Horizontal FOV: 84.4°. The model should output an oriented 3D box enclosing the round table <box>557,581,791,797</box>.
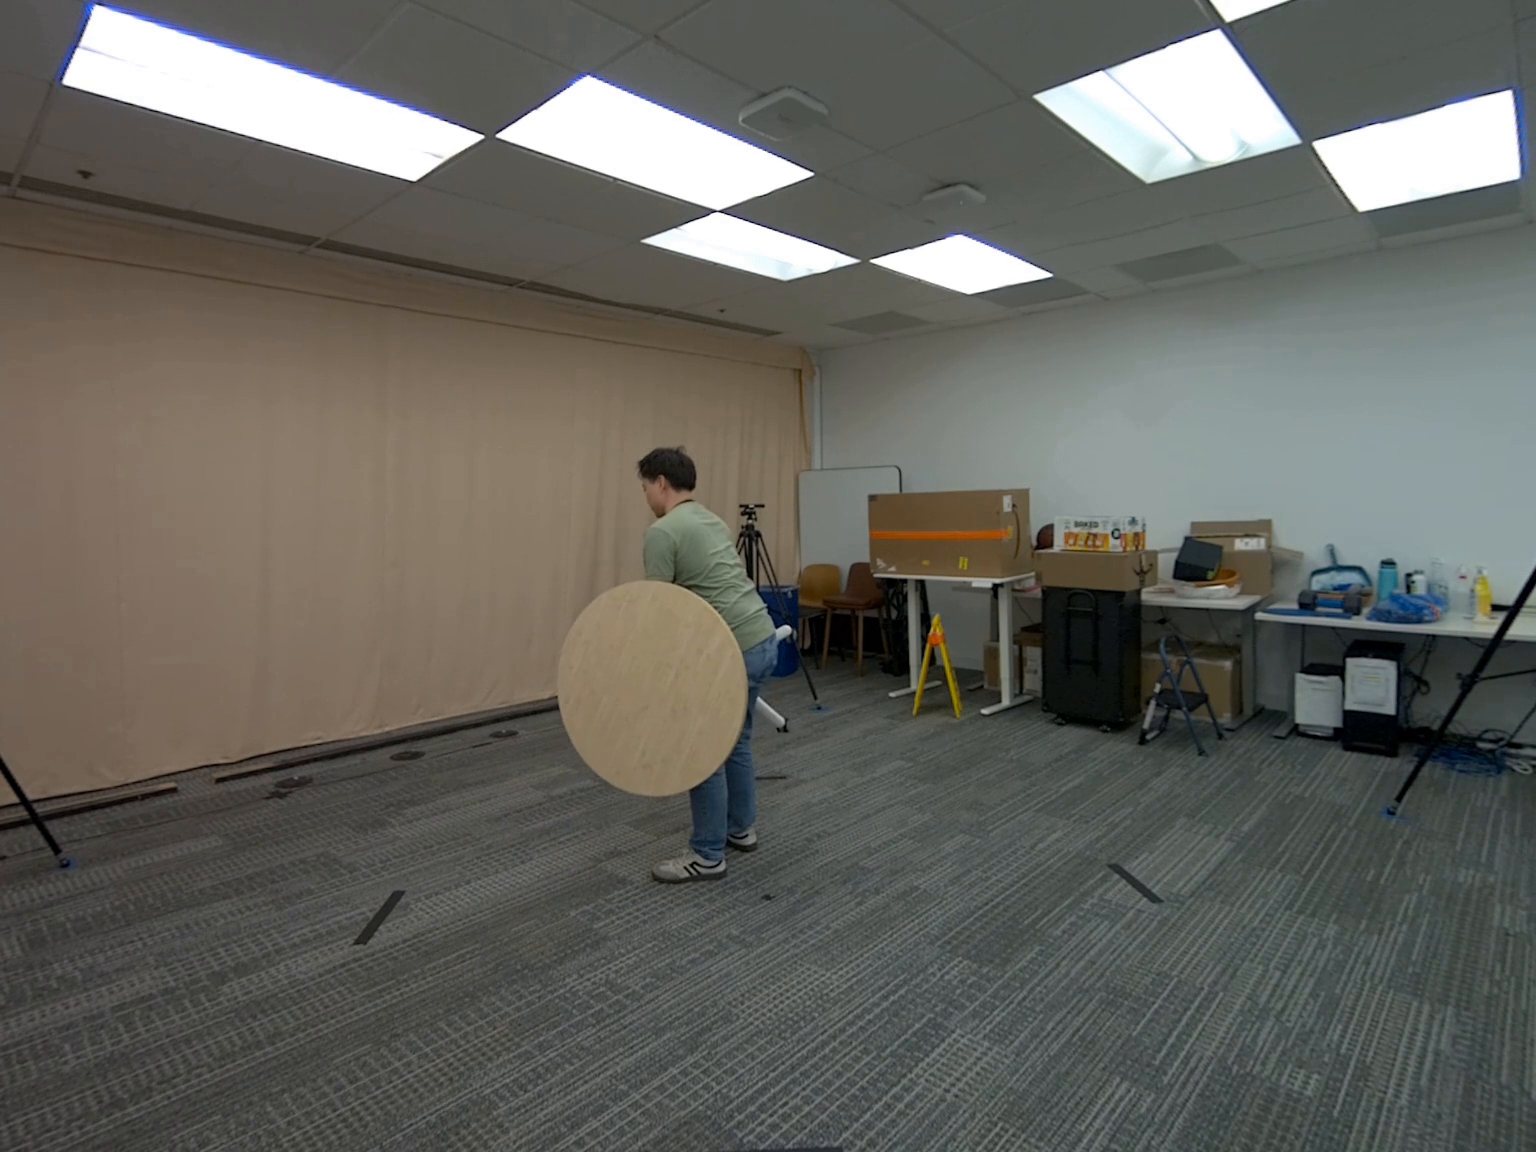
[{"bbox_3d":[-0.299,0.417,3.381,0.782,0.764,0.775,1,-1,22],"label":"round table"}]
